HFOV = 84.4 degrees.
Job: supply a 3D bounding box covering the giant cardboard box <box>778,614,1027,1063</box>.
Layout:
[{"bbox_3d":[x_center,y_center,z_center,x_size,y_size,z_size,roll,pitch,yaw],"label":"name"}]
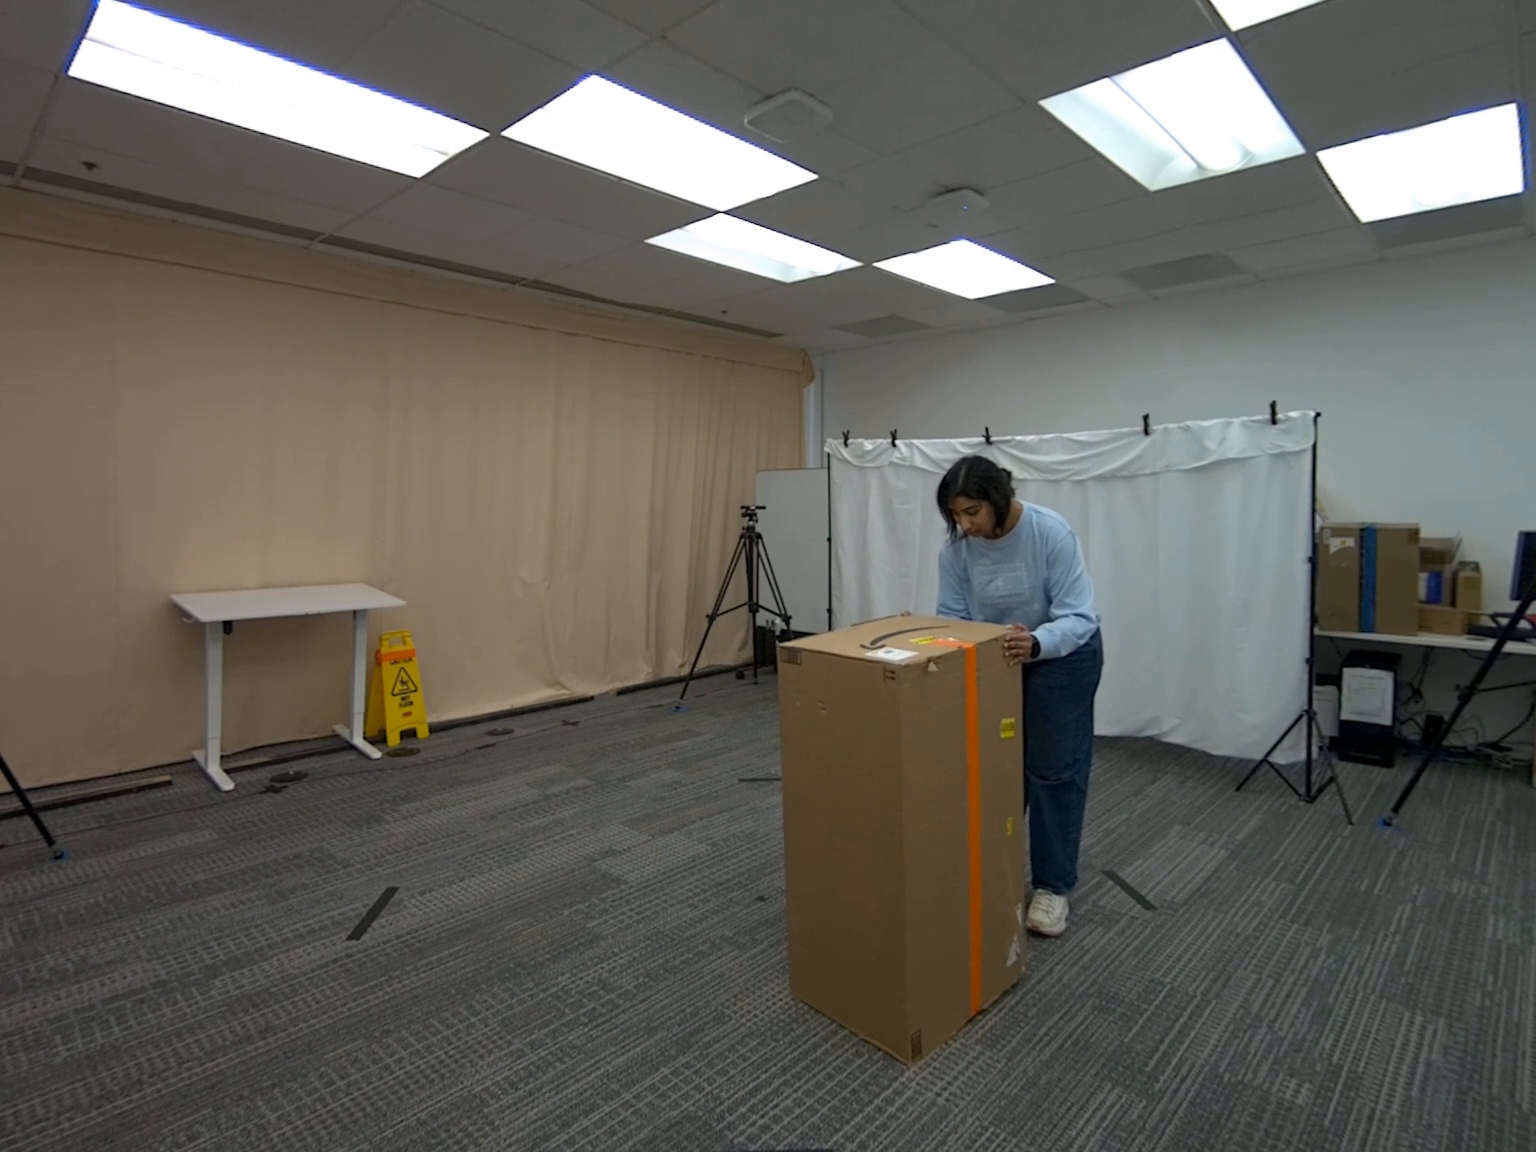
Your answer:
[{"bbox_3d":[0.394,0.681,2.389,0.560,1.022,0.440,-7,7,-44],"label":"giant cardboard box"}]
